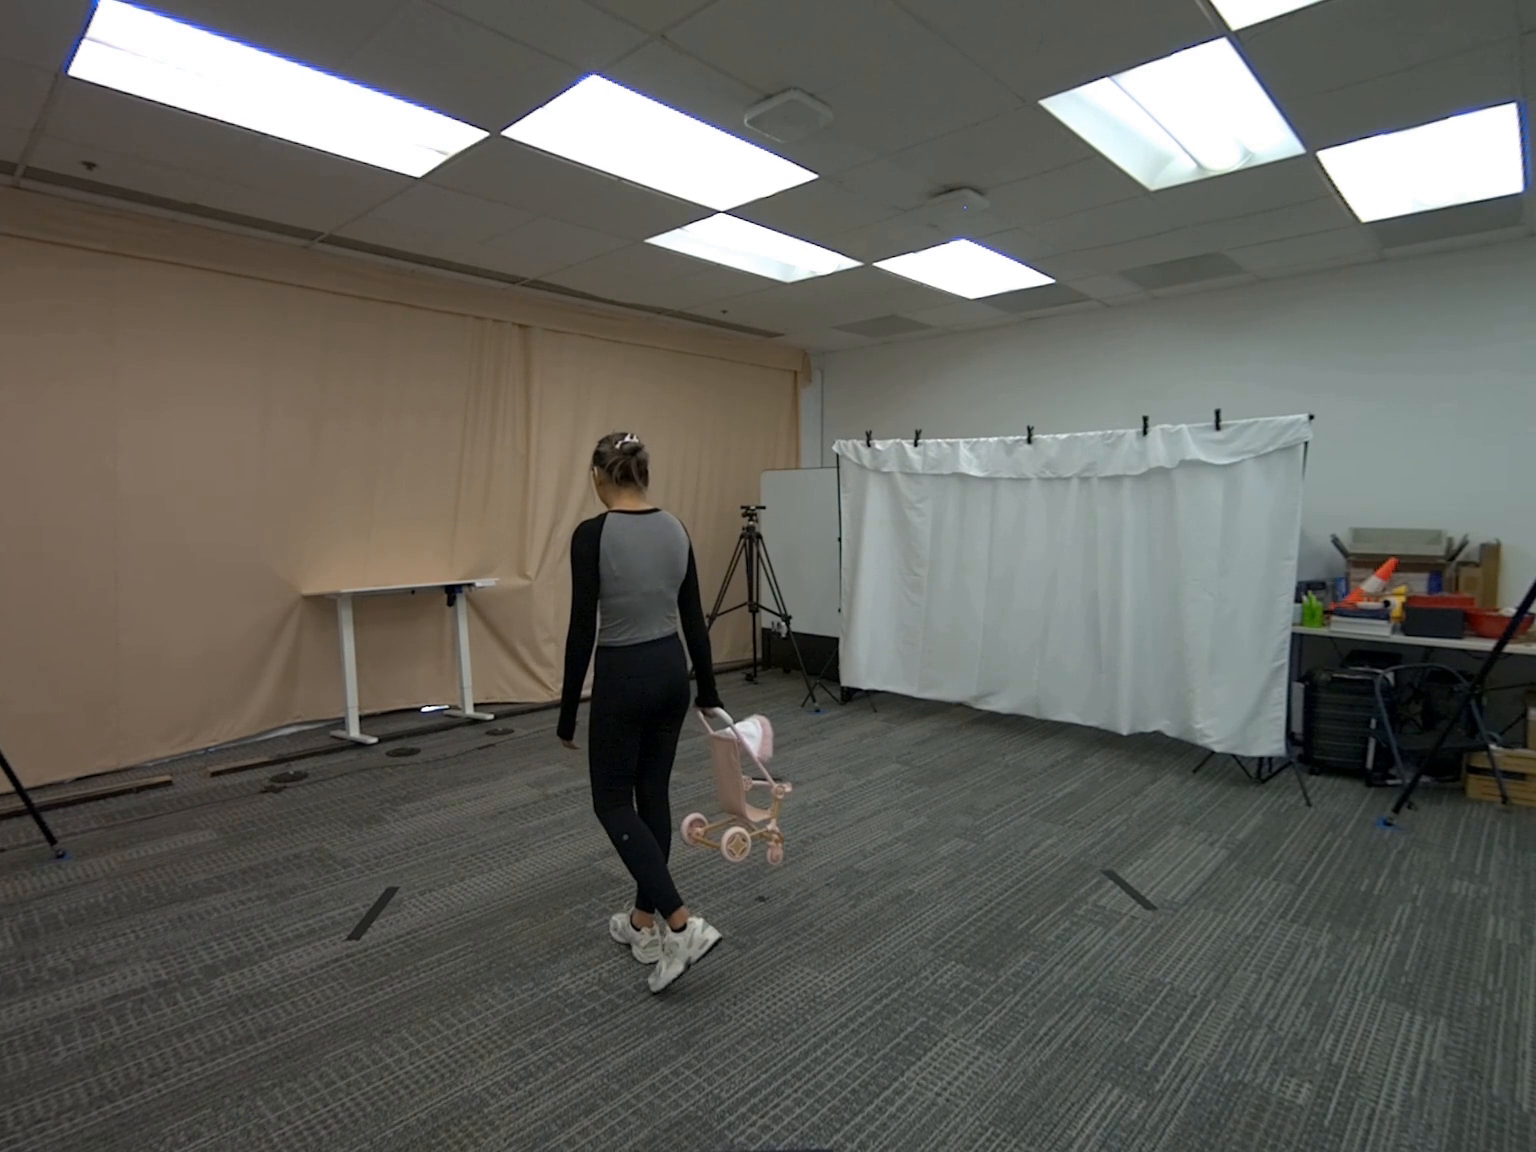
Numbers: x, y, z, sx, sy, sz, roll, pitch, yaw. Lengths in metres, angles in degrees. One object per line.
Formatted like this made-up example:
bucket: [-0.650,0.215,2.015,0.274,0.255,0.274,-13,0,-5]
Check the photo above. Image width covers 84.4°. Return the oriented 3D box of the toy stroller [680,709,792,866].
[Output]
toy stroller: [-0.074,0.706,2.808,0.332,0.538,0.288,6,-9,-30]
